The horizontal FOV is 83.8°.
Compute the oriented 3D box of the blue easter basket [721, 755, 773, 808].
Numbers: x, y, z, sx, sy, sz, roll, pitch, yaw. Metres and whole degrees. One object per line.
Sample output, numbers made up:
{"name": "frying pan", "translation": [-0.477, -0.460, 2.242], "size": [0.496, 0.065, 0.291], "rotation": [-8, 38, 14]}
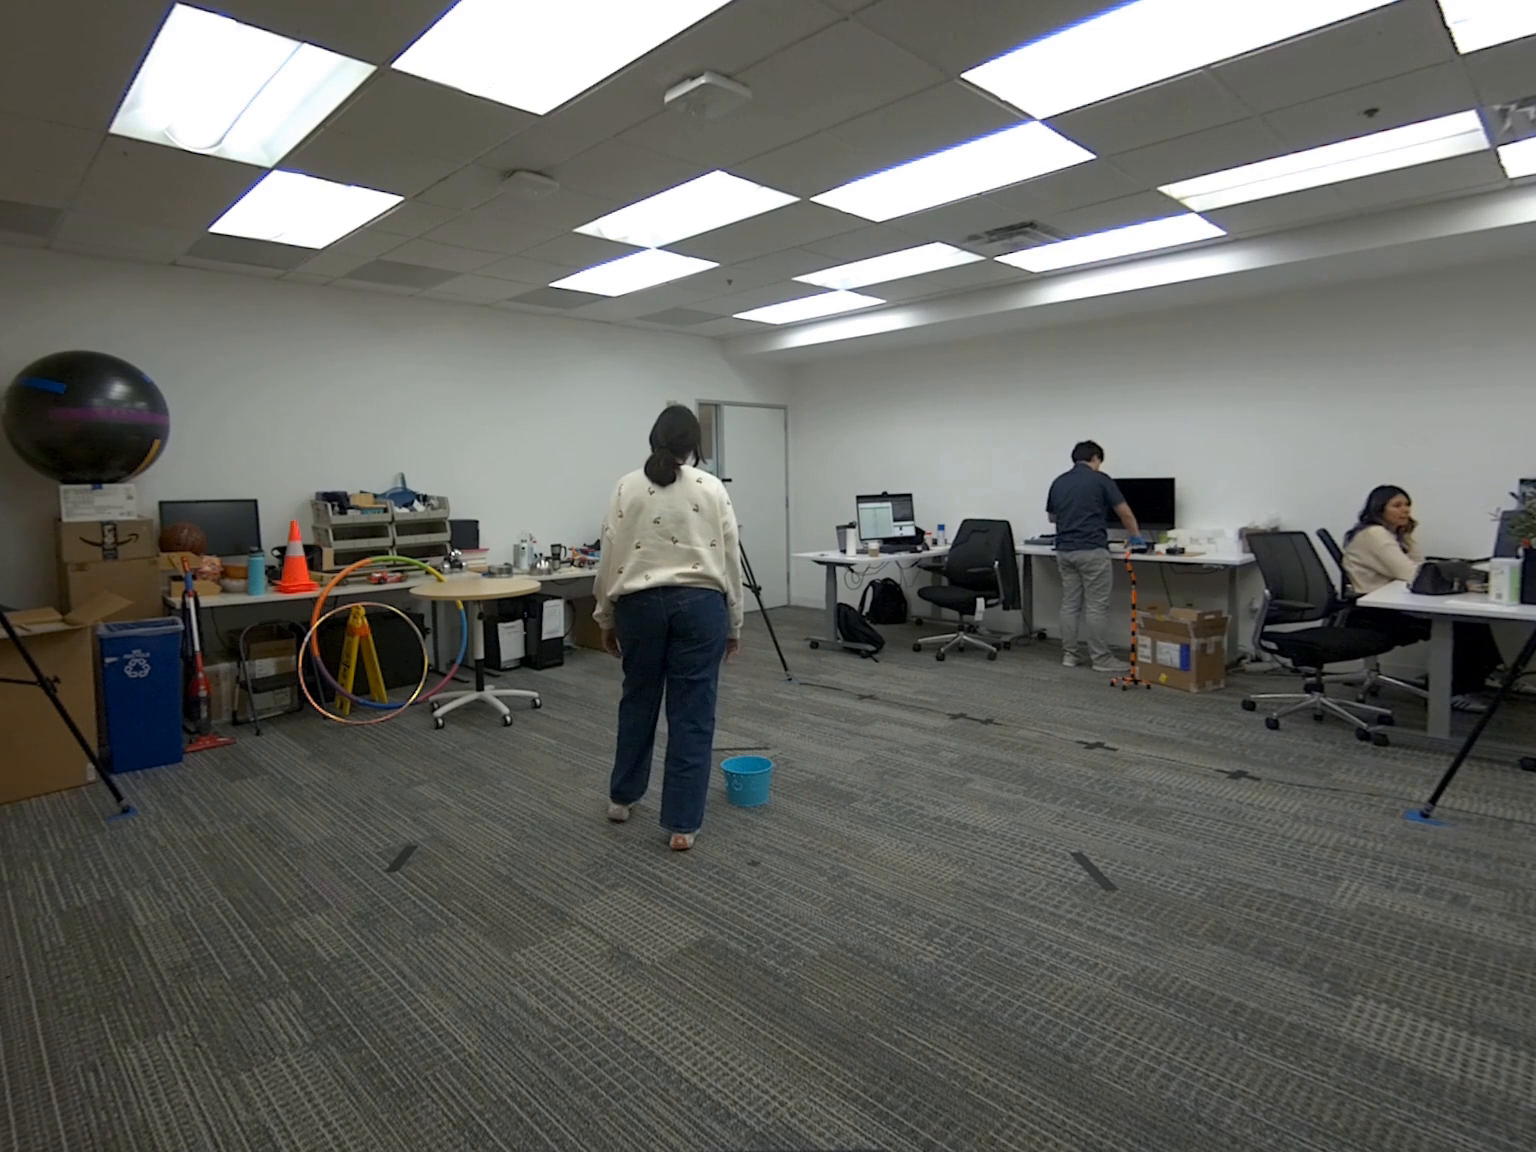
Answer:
{"name": "blue easter basket", "translation": [-0.082, 0.894, 3.735], "size": [0.243, 0.155, 0.245], "rotation": [-1, 5, -2]}
